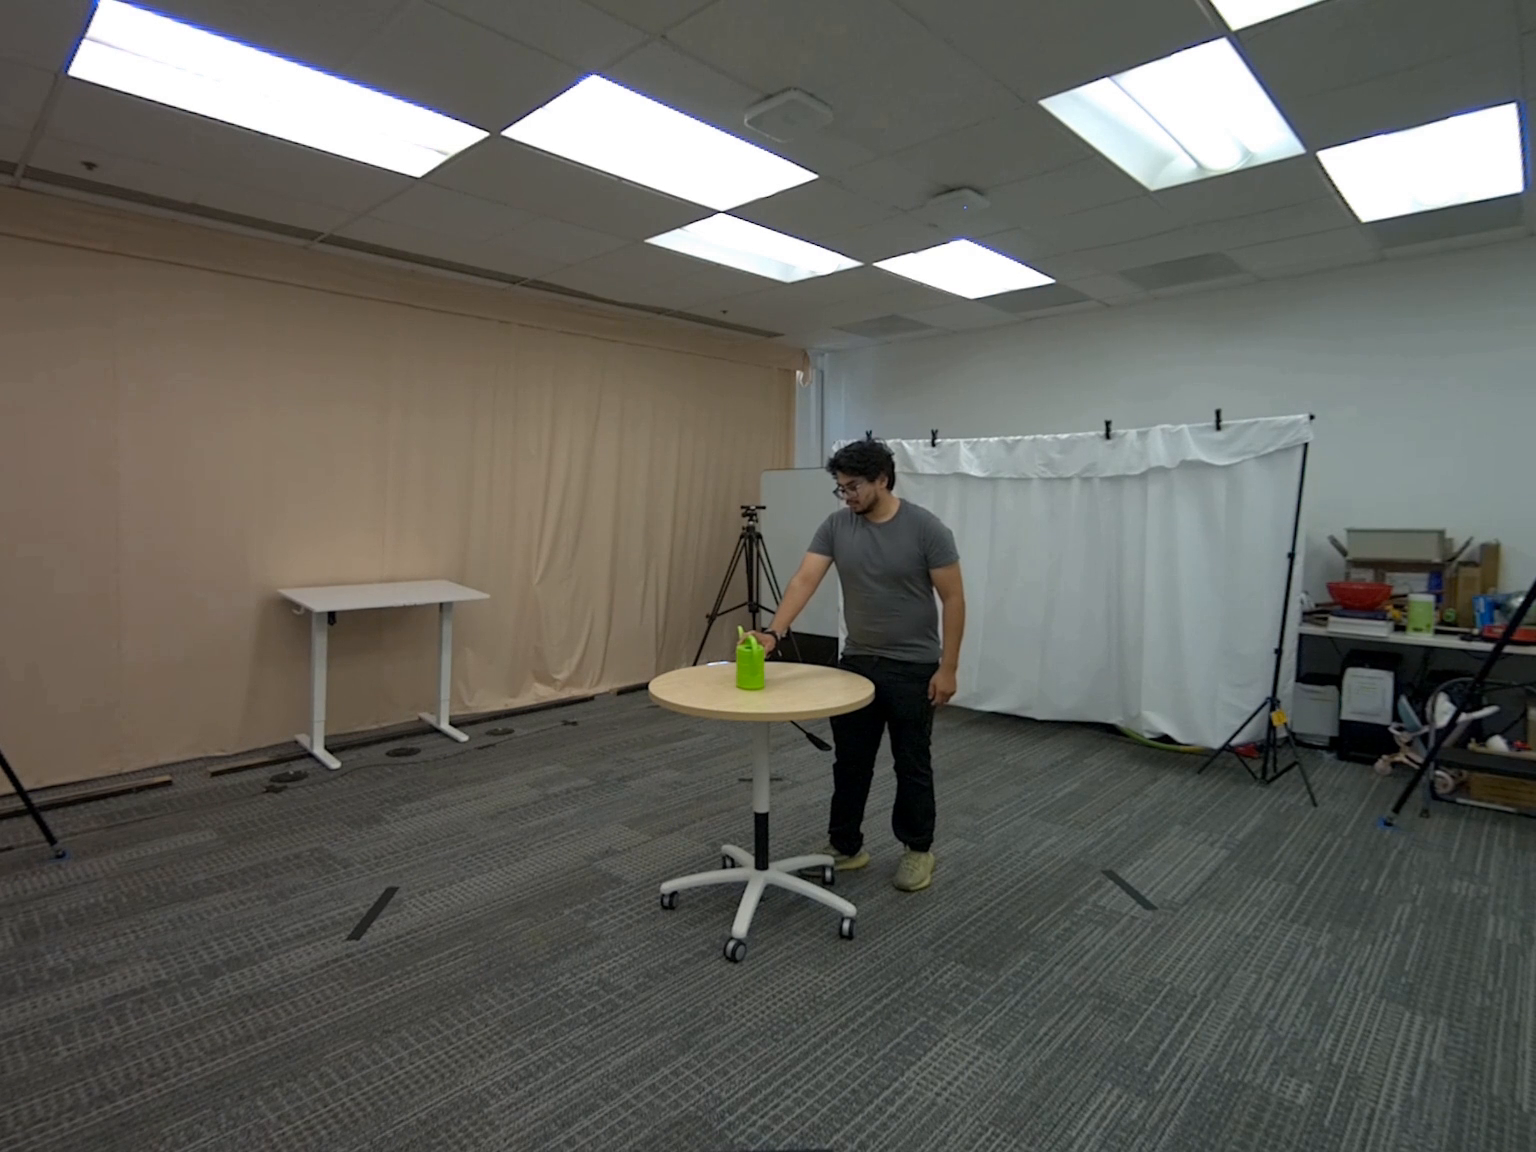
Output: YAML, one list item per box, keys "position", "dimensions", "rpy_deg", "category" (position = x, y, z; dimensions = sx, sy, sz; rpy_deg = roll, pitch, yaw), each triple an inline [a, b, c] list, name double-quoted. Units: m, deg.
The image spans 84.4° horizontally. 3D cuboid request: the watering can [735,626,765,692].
- position: [-0.059, 0.288, 2.876]
  dimensions: [0.098, 0.176, 0.280]
  rpy_deg: [-2, 7, -3]
  category: "watering can"
